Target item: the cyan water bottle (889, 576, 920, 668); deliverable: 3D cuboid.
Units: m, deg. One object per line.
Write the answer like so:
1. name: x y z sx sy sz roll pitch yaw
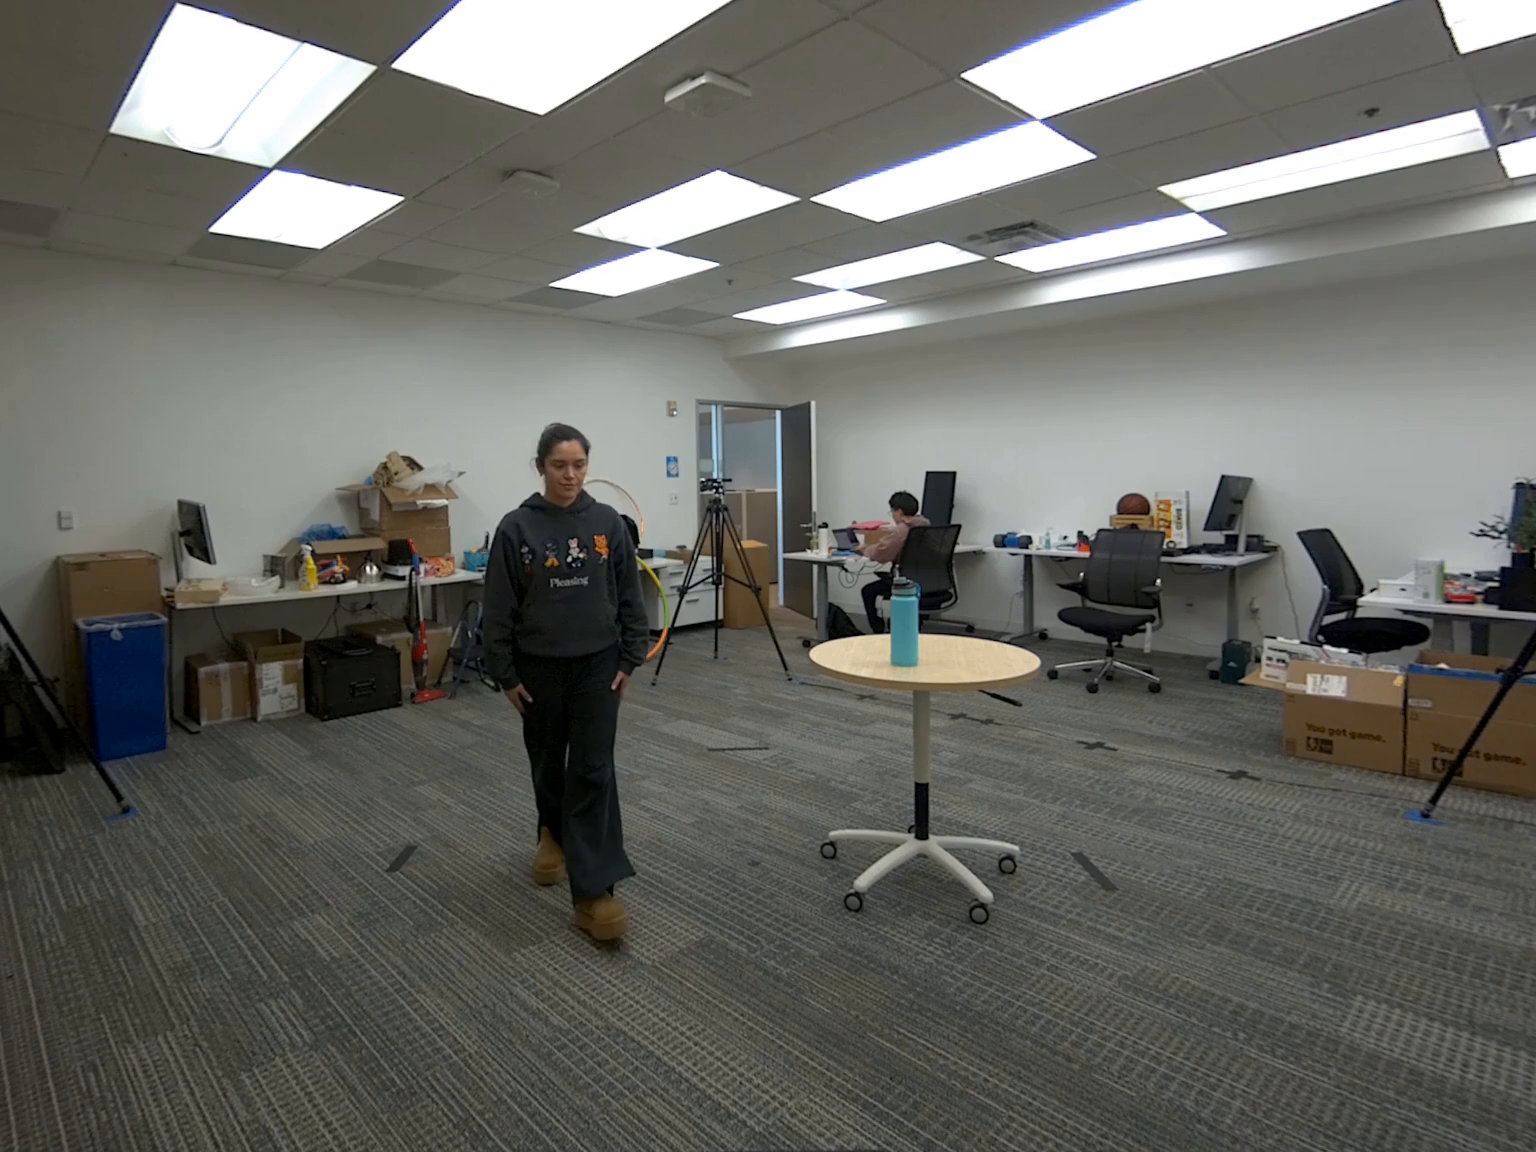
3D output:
1. cyan water bottle: 0.446 0.149 2.776 0.092 0.283 0.092 0 2 -2
